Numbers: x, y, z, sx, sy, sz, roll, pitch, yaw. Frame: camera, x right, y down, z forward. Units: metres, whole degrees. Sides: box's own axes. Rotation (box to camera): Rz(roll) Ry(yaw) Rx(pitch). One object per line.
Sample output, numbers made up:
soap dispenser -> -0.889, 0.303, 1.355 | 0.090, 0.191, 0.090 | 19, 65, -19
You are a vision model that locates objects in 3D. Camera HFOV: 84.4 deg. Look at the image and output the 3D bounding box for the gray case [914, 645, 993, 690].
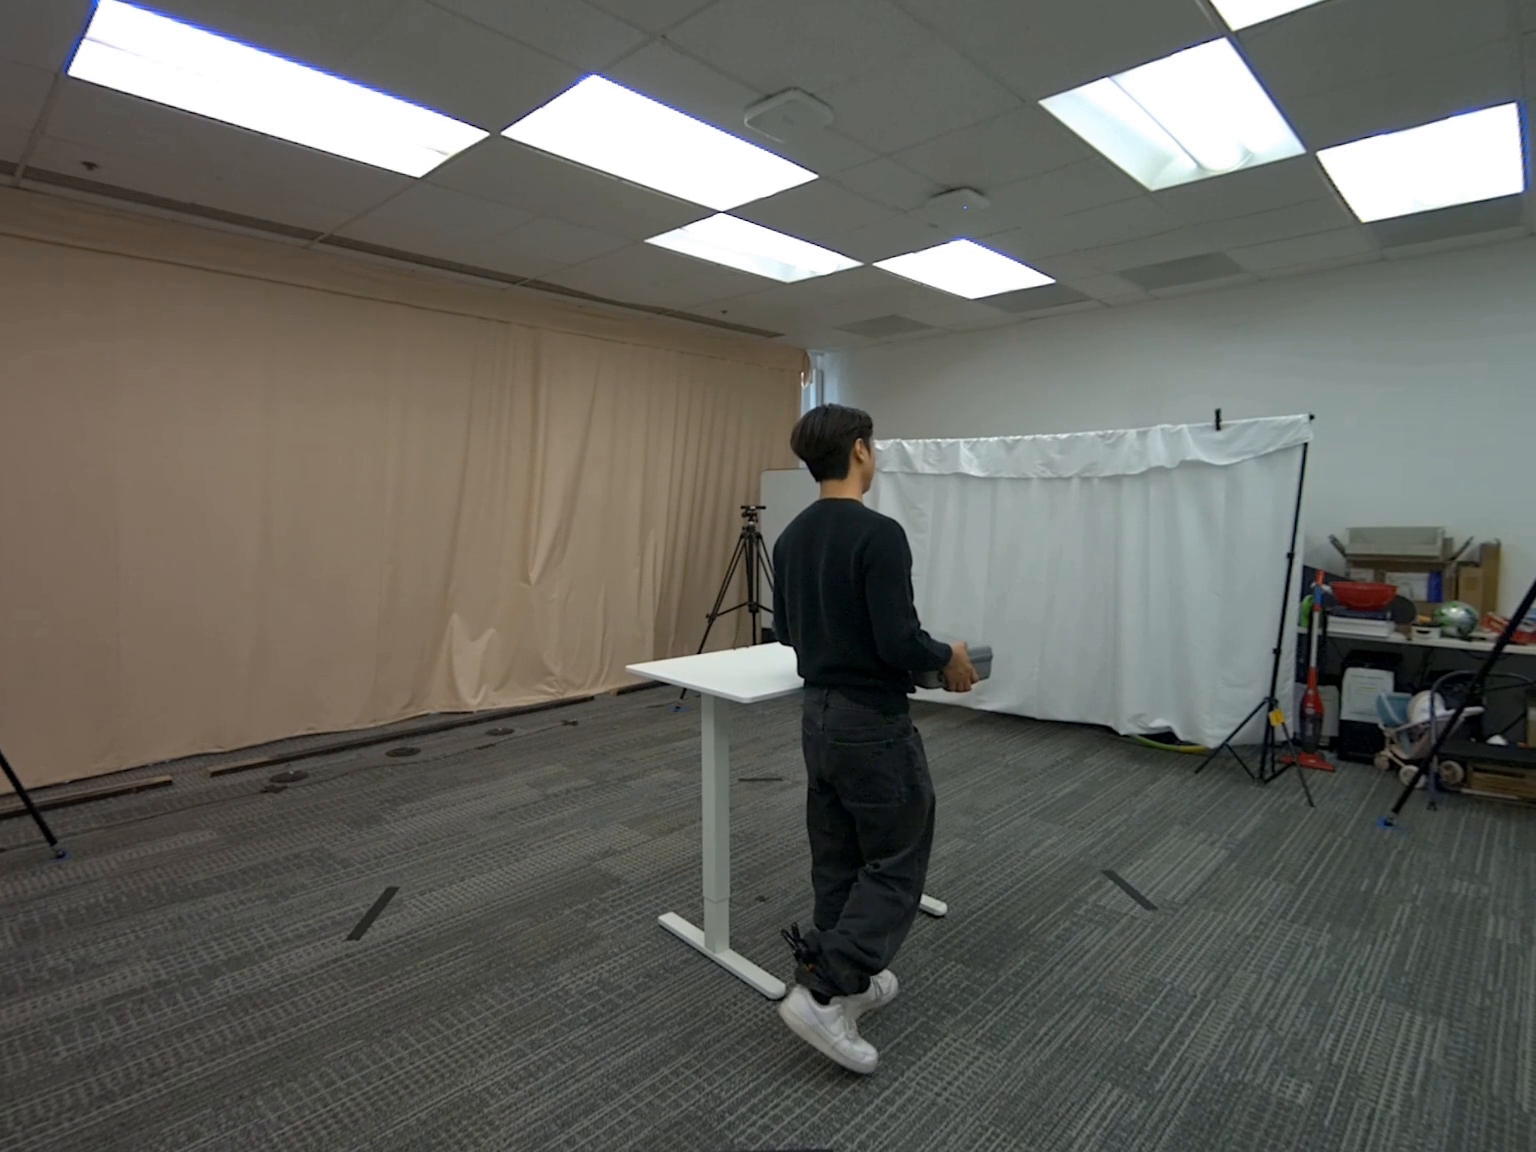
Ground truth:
gray case -> 0.464, 0.230, 2.347 | 0.254, 0.104, 0.265 | -4, 10, -28
